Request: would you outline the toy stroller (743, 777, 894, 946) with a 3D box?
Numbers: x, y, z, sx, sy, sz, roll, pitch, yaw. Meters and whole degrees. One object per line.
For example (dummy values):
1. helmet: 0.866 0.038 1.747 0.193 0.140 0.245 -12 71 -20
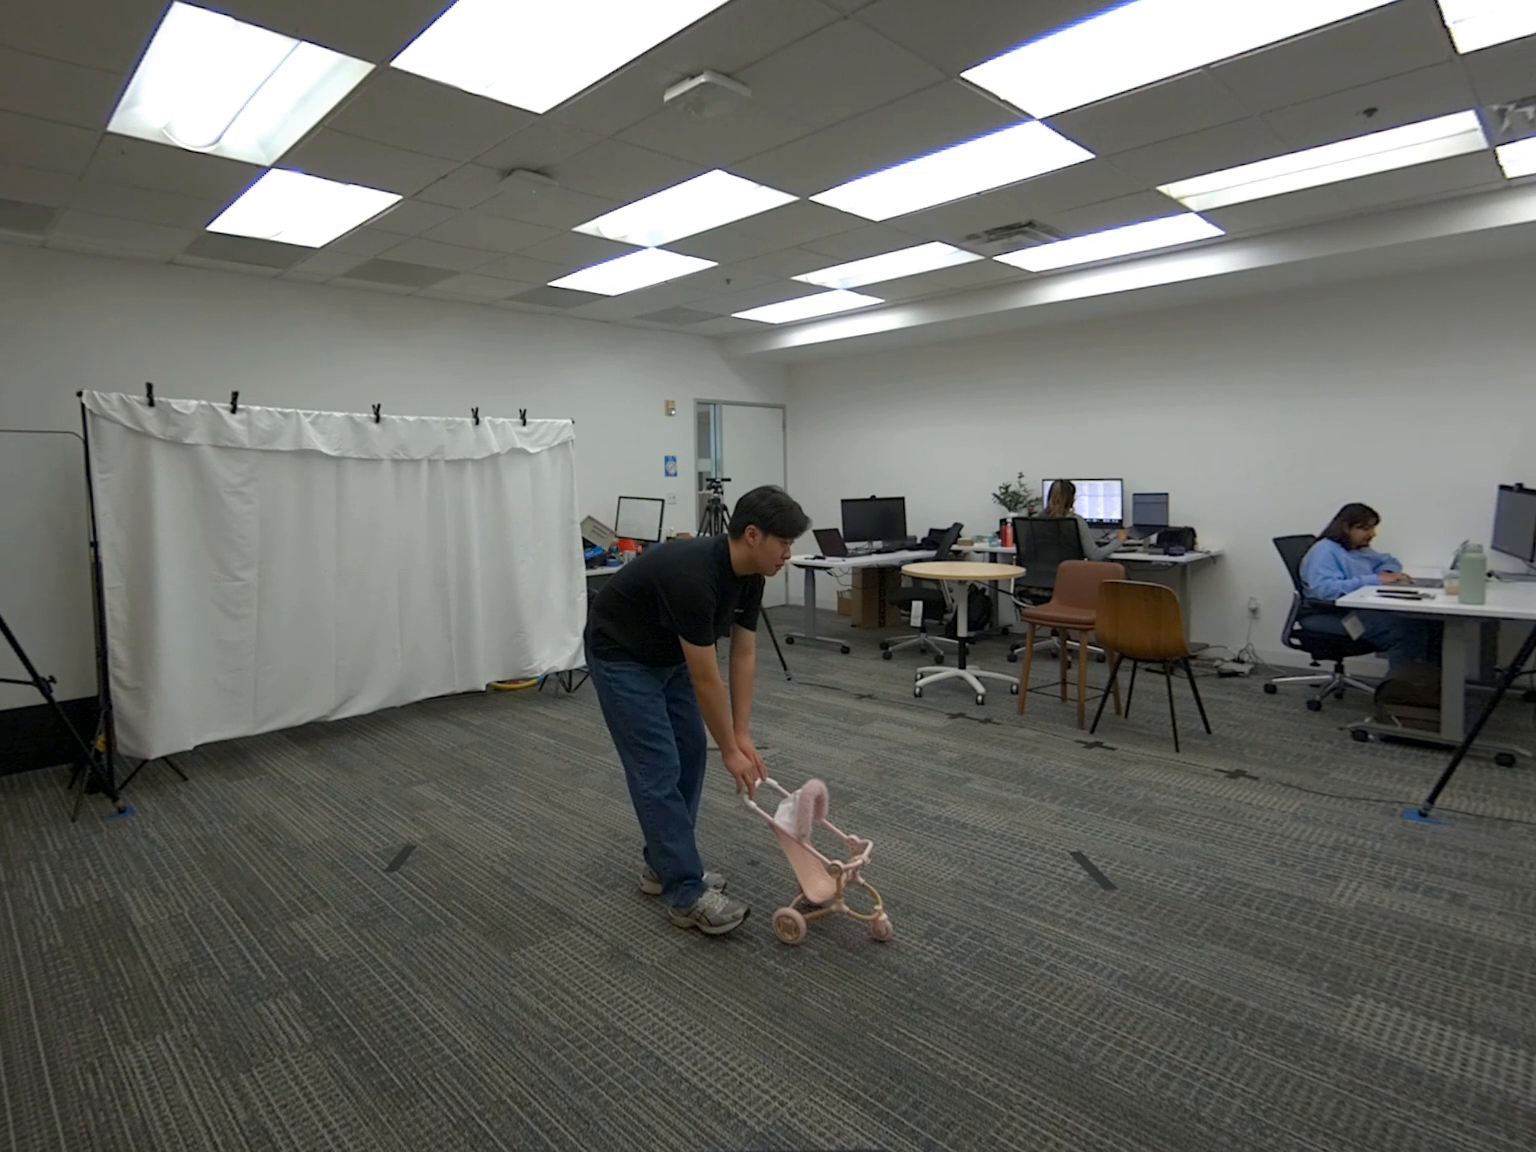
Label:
1. toy stroller: 0.163 0.866 2.634 0.347 0.537 0.276 -18 -4 28
